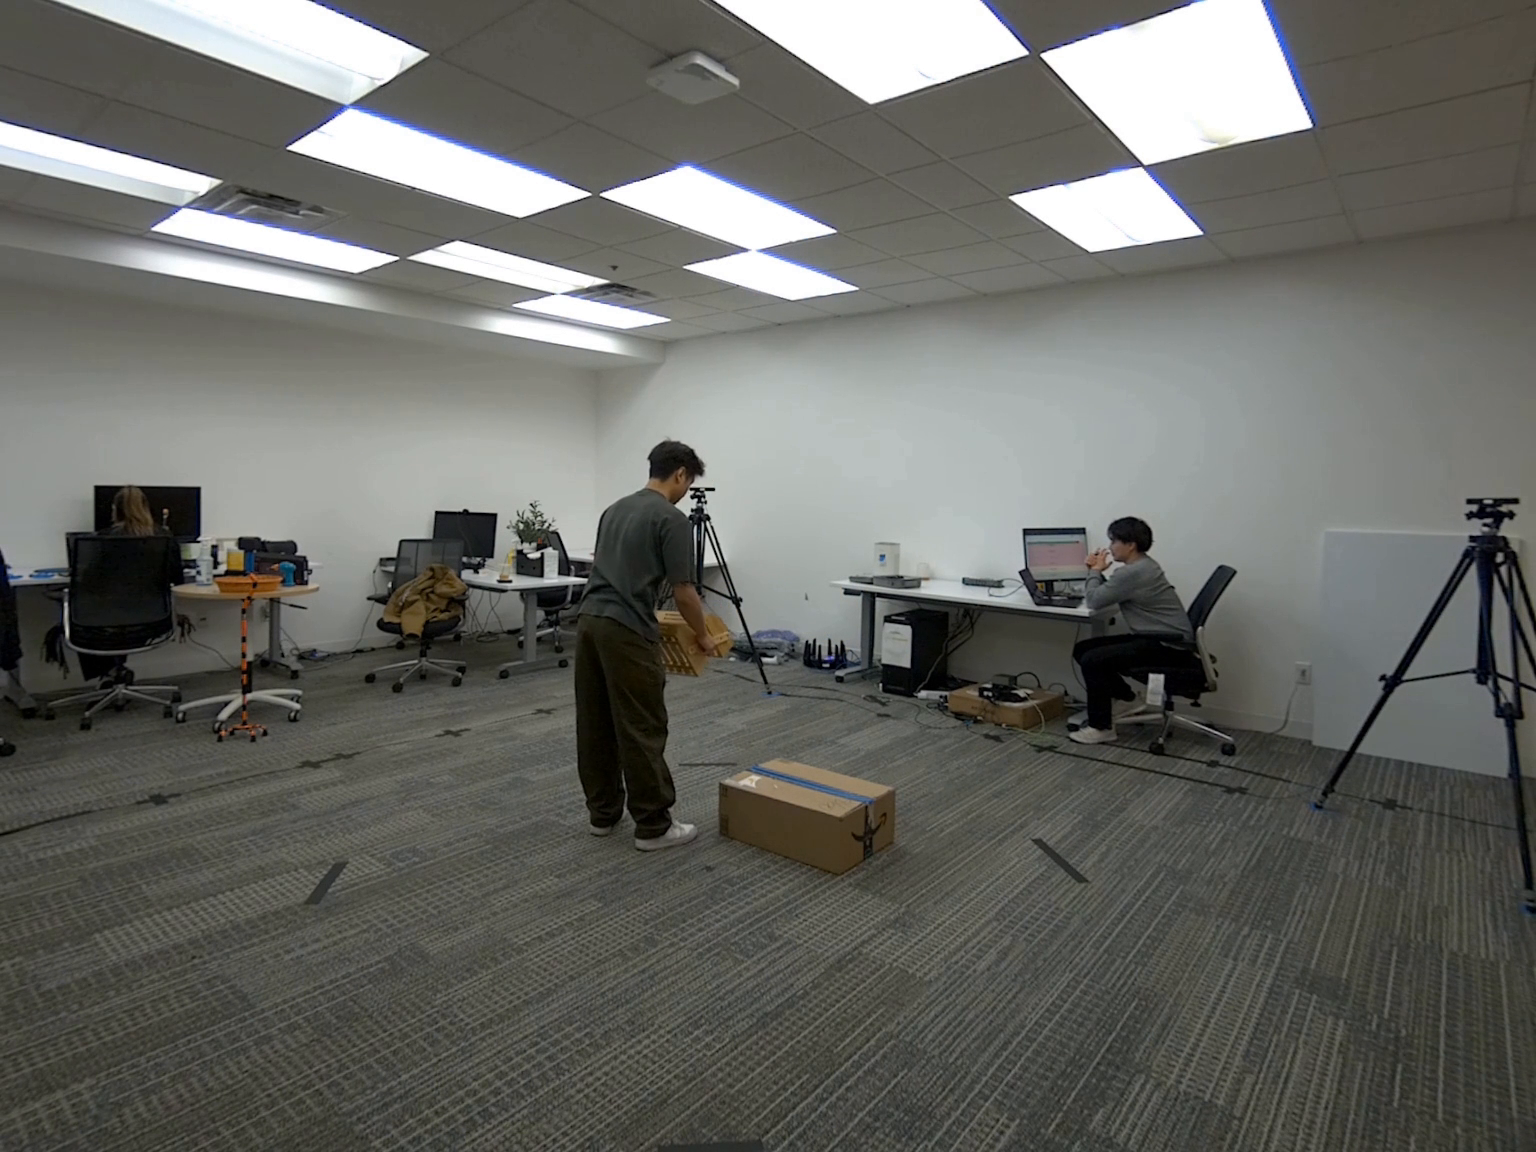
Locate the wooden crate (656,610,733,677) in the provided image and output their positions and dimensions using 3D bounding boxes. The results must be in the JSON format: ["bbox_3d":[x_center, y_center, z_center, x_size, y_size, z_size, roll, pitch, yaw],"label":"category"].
[{"bbox_3d":[-0.392,0.246,3.593,0.334,0.292,0.274,1,37,36],"label":"wooden crate"}]
